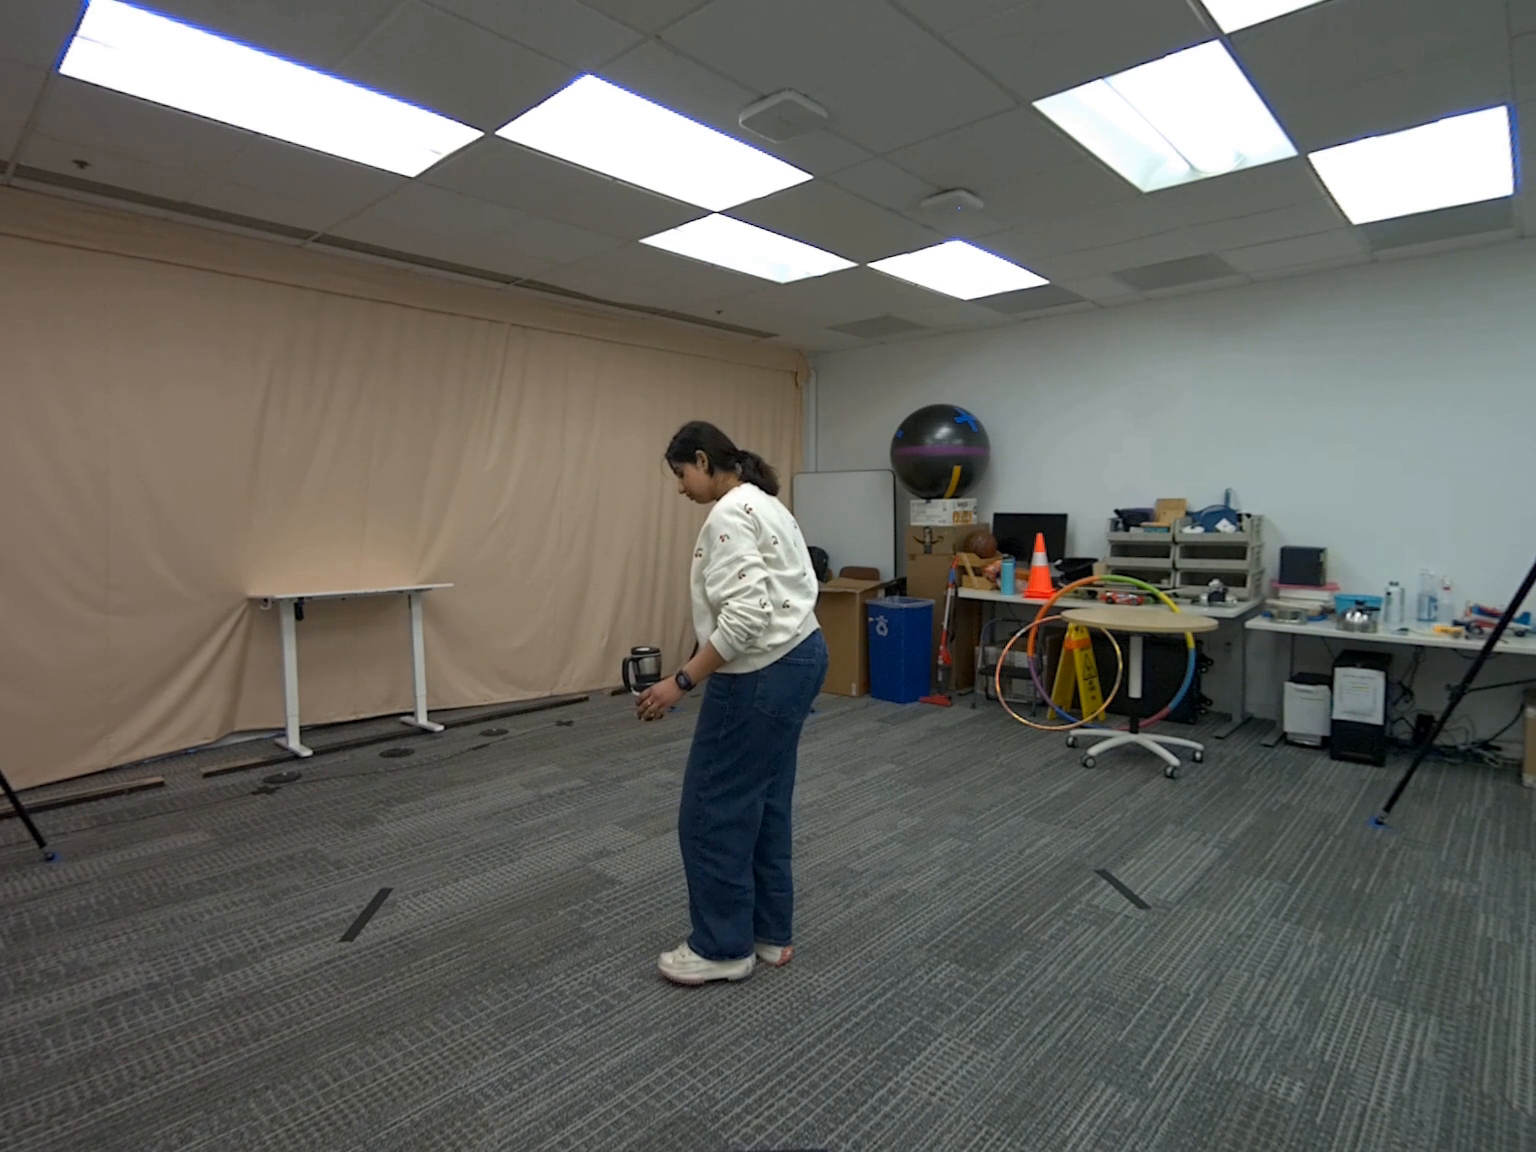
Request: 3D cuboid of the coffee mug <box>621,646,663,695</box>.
[{"bbox_3d":[-0.360,0.314,2.394,0.119,0.202,0.090,-1,4,-22],"label":"coffee mug"}]
